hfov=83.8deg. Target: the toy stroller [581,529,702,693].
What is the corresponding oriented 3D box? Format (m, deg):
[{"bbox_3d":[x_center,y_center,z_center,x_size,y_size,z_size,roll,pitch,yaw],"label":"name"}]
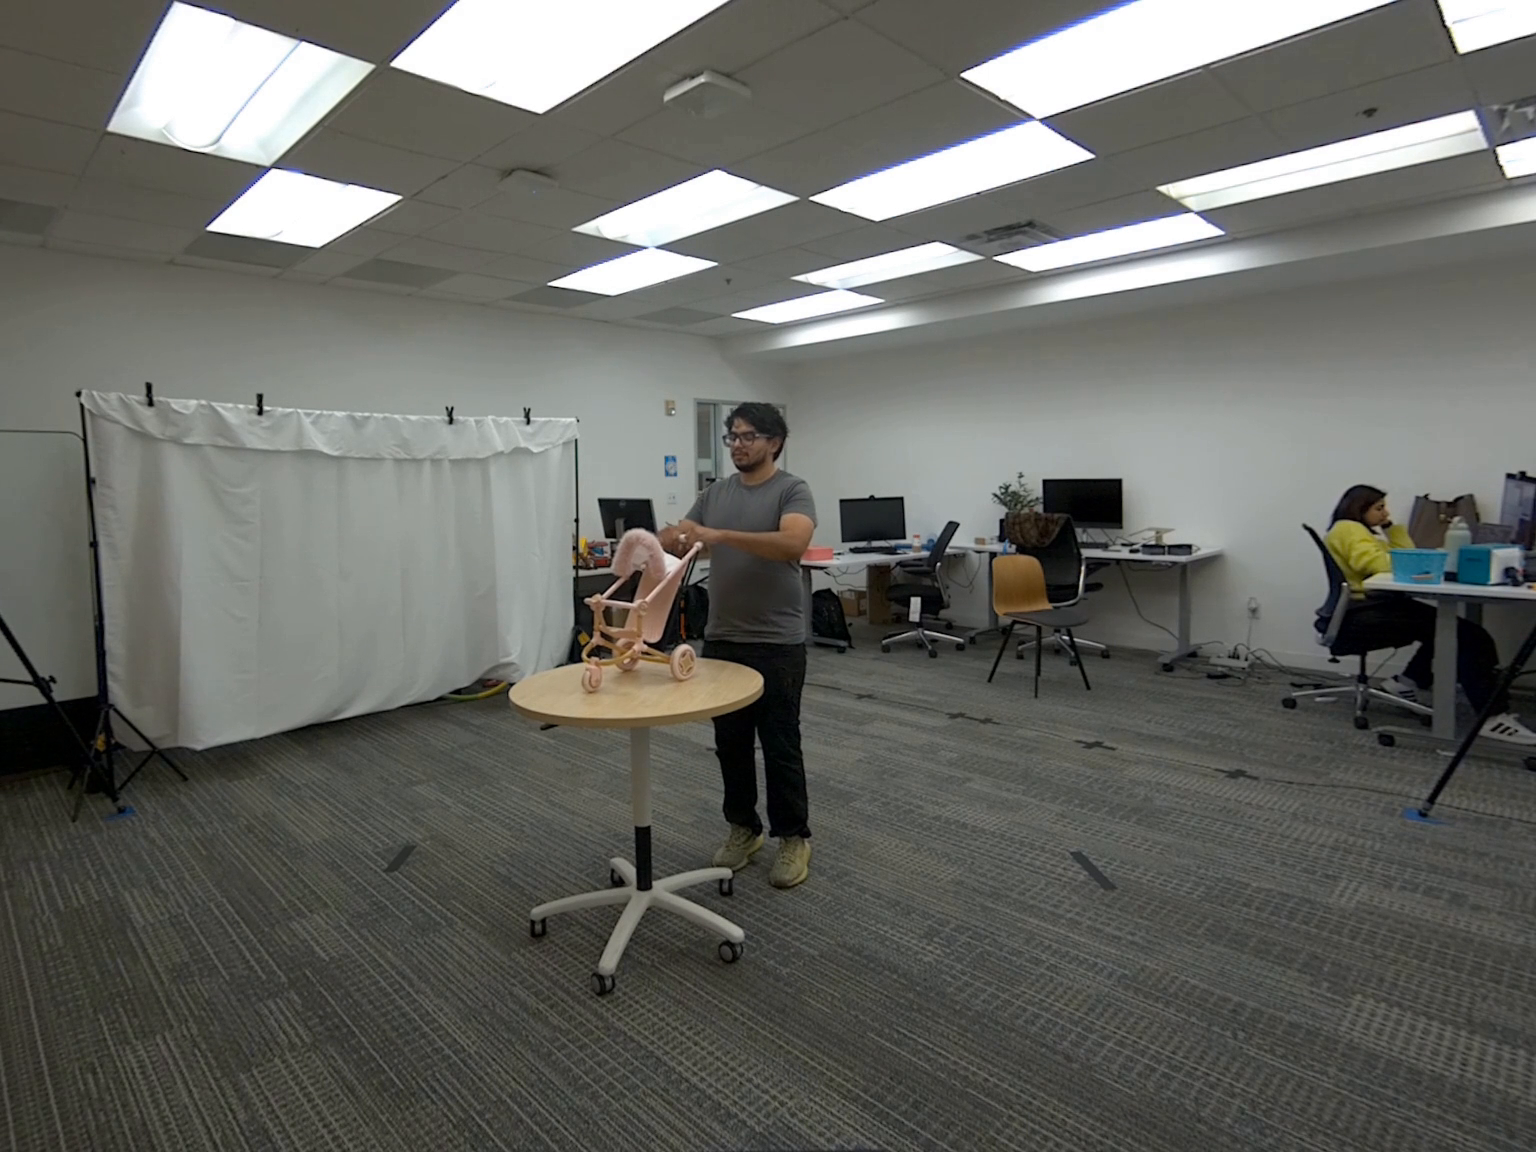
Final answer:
[{"bbox_3d":[-0.400,0.097,2.636,0.290,0.538,0.329,1,-9,43],"label":"toy stroller"}]
